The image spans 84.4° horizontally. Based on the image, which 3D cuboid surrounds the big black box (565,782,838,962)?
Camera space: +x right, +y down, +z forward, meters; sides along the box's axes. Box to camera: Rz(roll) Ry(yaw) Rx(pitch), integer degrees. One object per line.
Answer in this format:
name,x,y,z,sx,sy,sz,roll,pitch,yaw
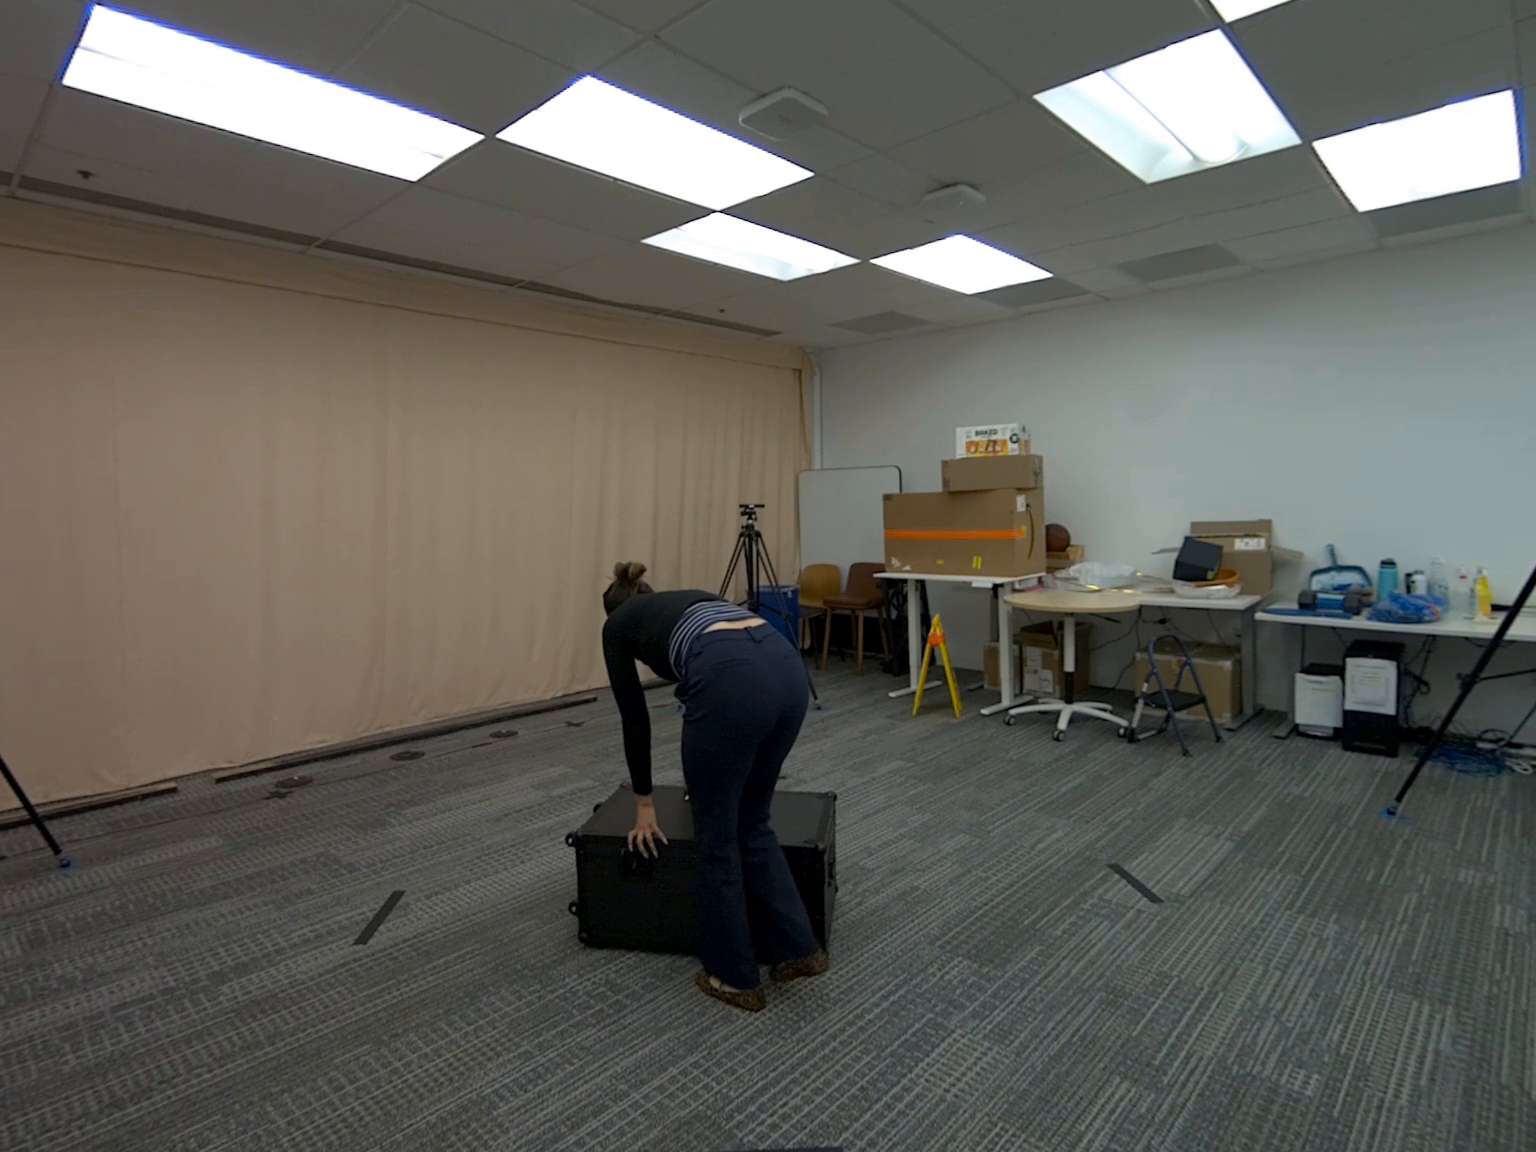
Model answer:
big black box,-0.212,0.966,2.815,0.872,0.395,0.516,0,5,11
